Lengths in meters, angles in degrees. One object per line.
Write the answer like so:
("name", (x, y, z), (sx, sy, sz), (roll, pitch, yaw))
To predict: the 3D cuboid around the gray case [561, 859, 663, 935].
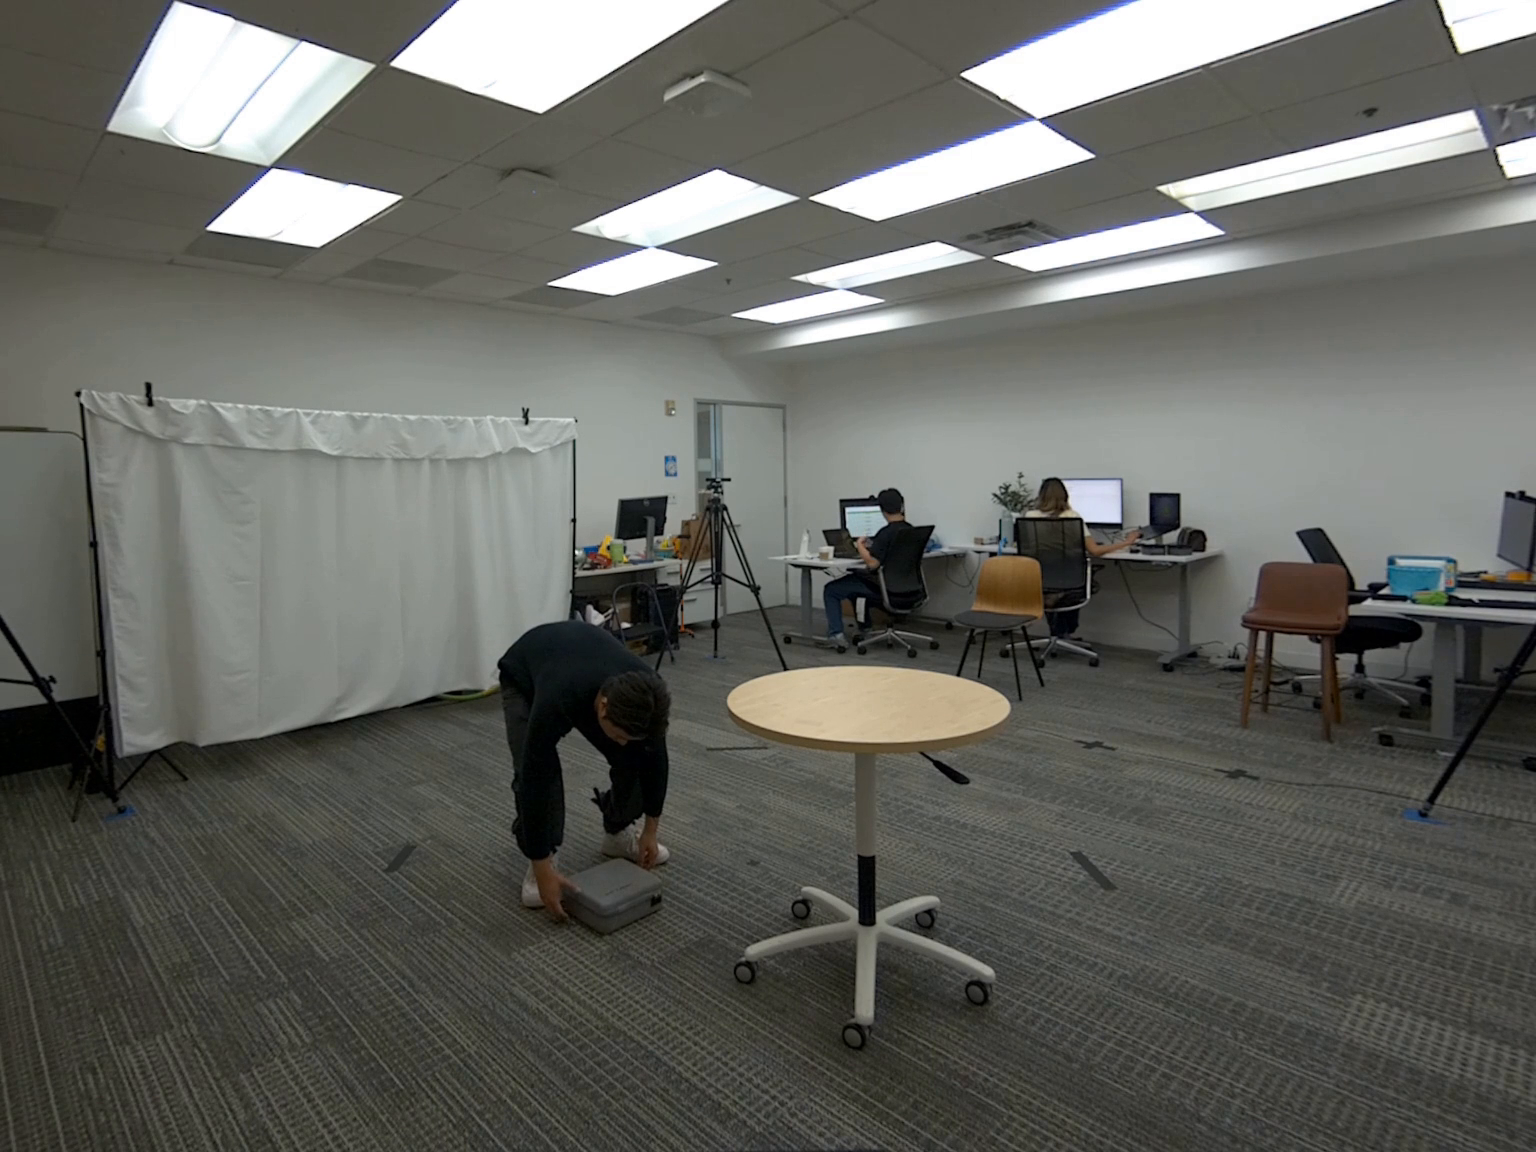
("gray case", (-0.515, 1.028, 2.785), (0.269, 0.103, 0.251), (5, 11, 43))
